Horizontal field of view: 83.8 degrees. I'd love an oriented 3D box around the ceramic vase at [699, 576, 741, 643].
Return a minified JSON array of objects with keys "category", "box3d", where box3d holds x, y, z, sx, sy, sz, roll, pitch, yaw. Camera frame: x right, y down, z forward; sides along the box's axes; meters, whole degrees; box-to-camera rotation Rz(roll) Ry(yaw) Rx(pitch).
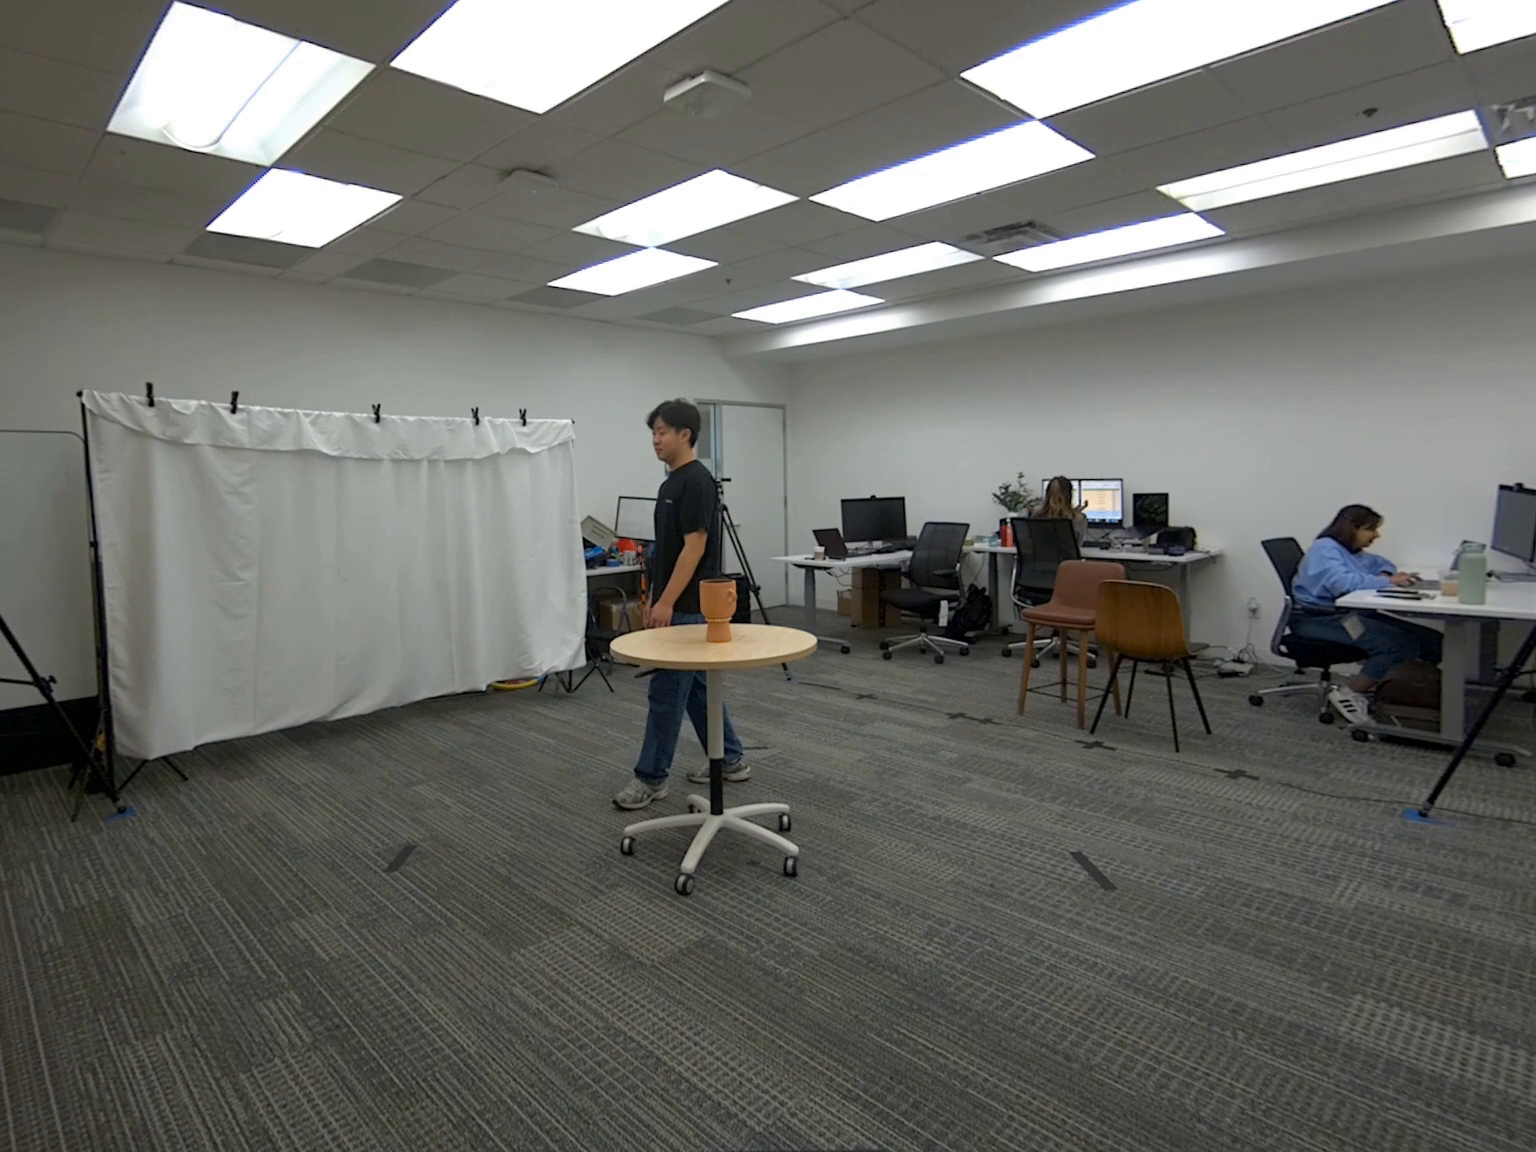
[{"category":"ceramic vase","box3d":[-0.181,0.134,3.170,0.134,0.219,0.160,-1,4,-4]}]
